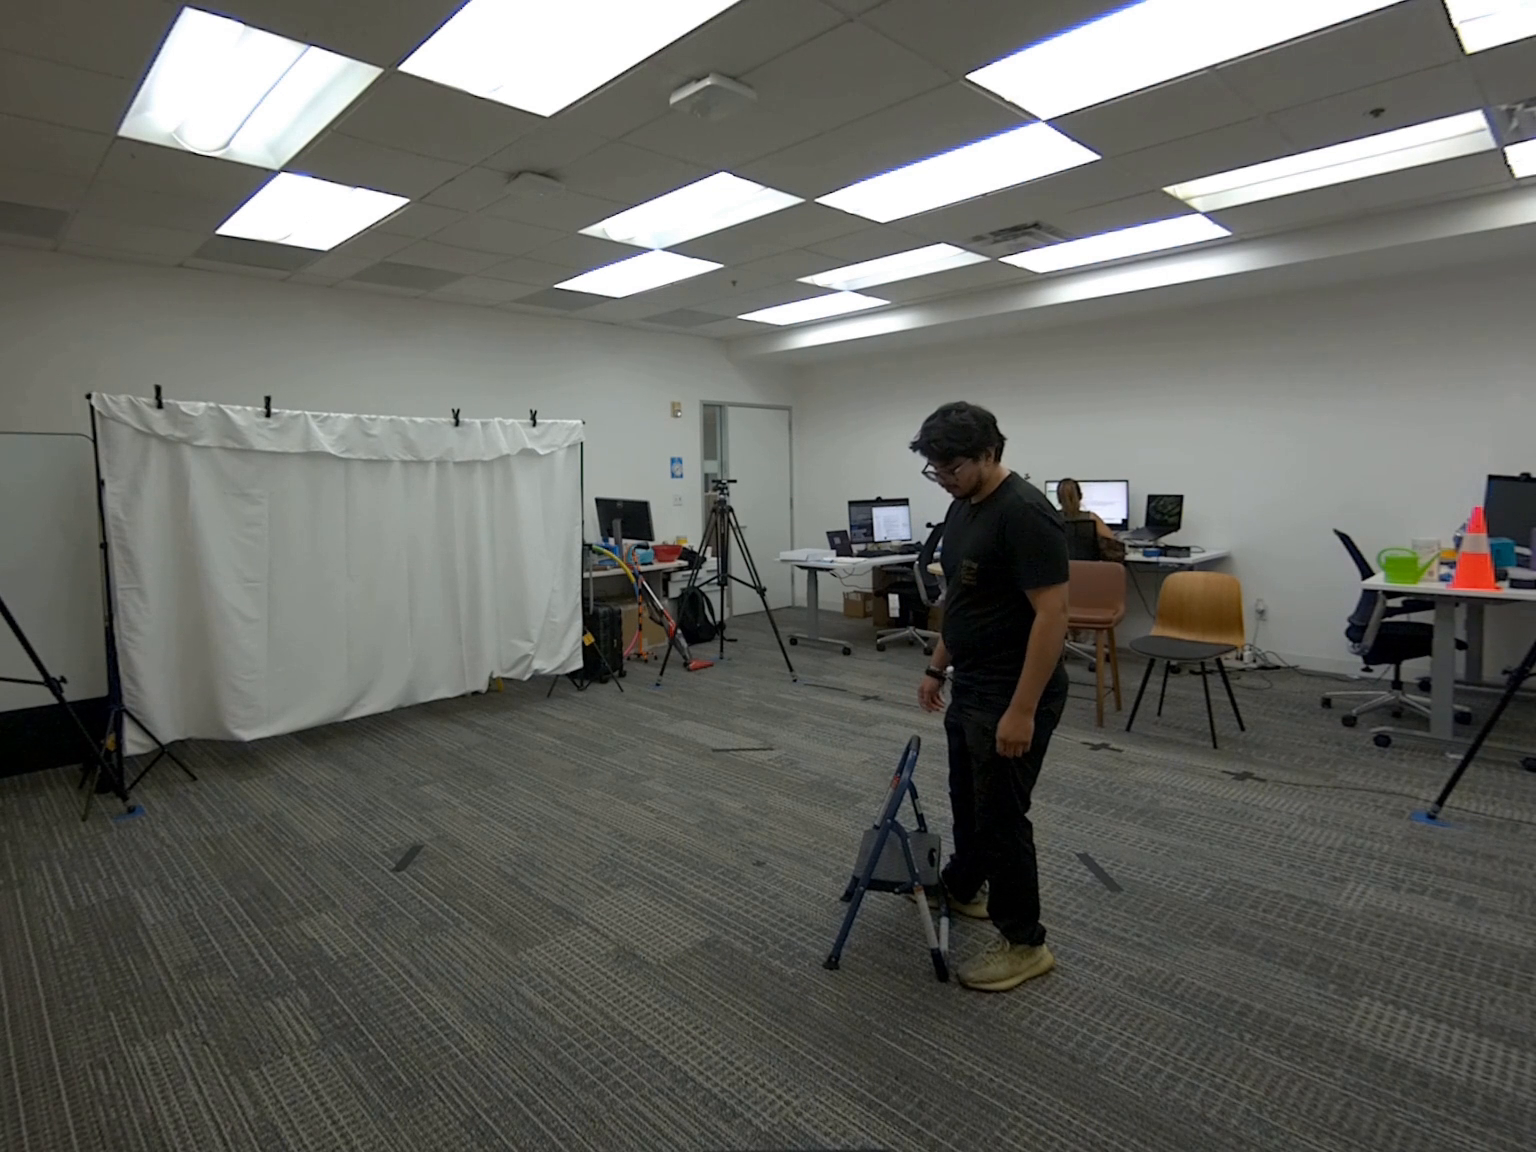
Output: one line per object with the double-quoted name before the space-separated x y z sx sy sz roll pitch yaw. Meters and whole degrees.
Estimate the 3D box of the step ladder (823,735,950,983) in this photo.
"step ladder" 0.376 0.803 2.571 0.354 0.604 0.426 0 4 13
